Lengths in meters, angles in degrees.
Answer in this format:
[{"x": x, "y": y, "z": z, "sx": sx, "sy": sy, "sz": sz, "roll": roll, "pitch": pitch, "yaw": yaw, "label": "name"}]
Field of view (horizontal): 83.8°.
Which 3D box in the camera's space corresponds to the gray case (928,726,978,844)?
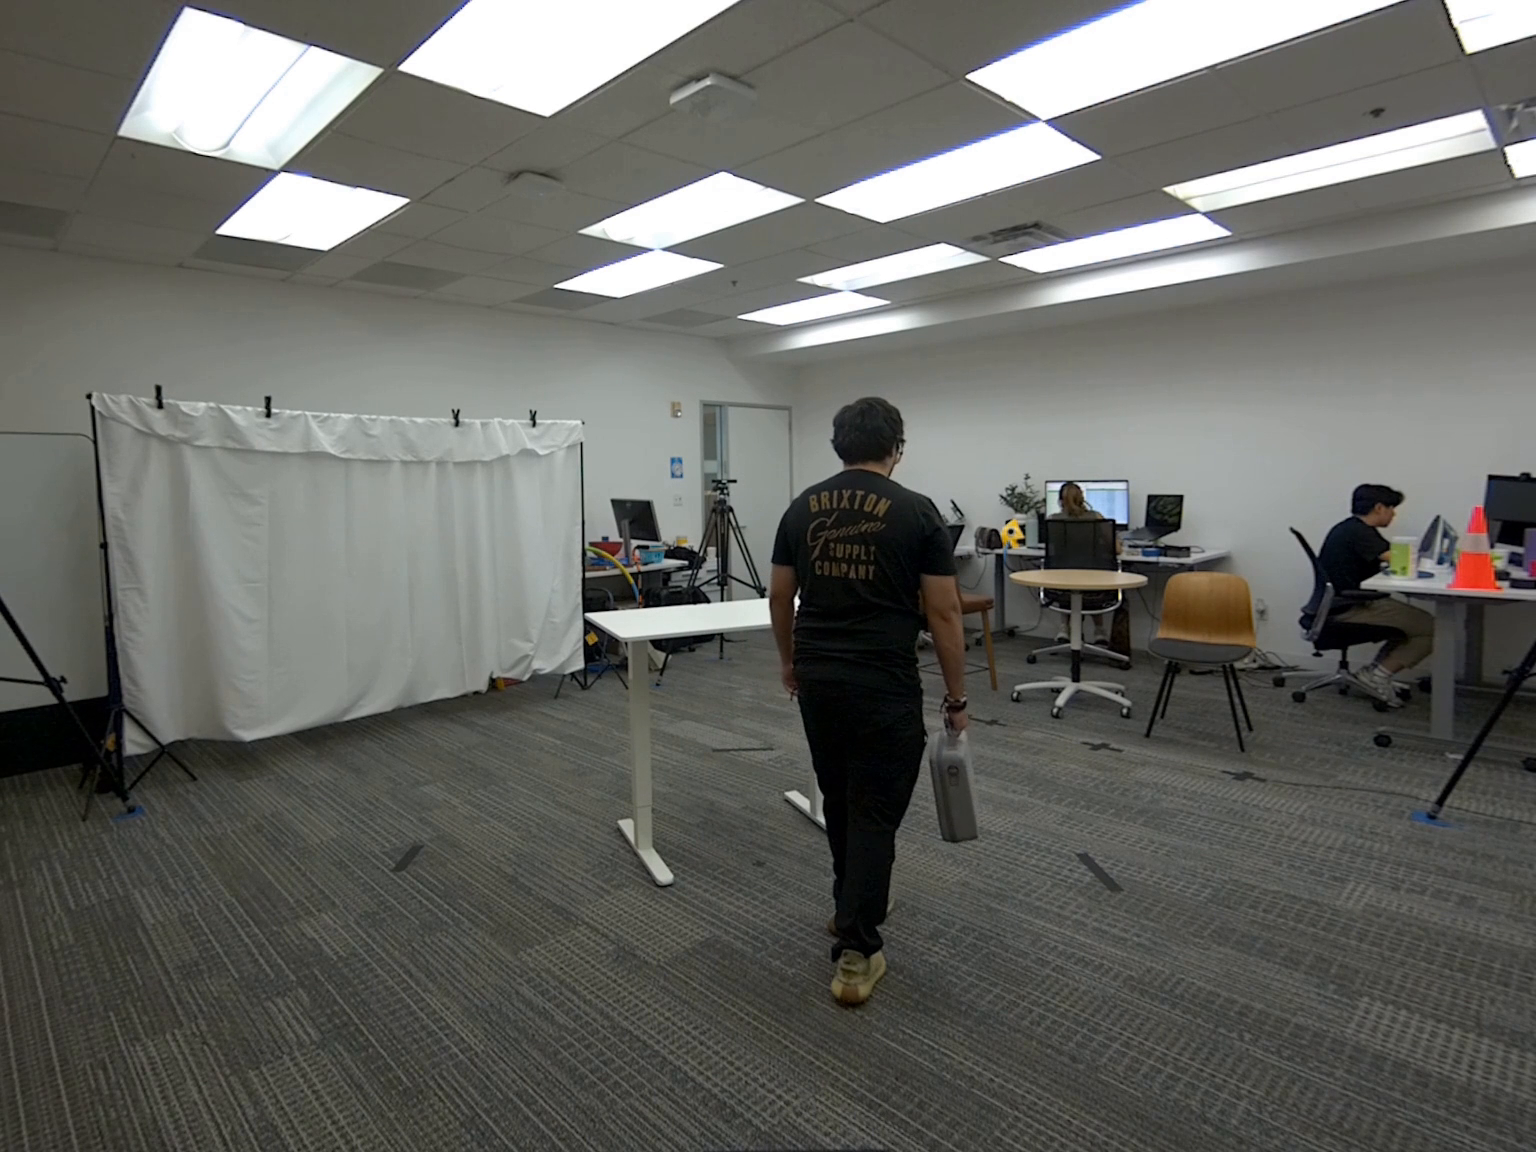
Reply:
[{"x": 0.535, "y": 0.583, "z": 2.444, "sx": 0.105, "sy": 0.260, "sz": 0.254, "roll": -8, "pitch": 4, "yaw": 14, "label": "gray case"}]
